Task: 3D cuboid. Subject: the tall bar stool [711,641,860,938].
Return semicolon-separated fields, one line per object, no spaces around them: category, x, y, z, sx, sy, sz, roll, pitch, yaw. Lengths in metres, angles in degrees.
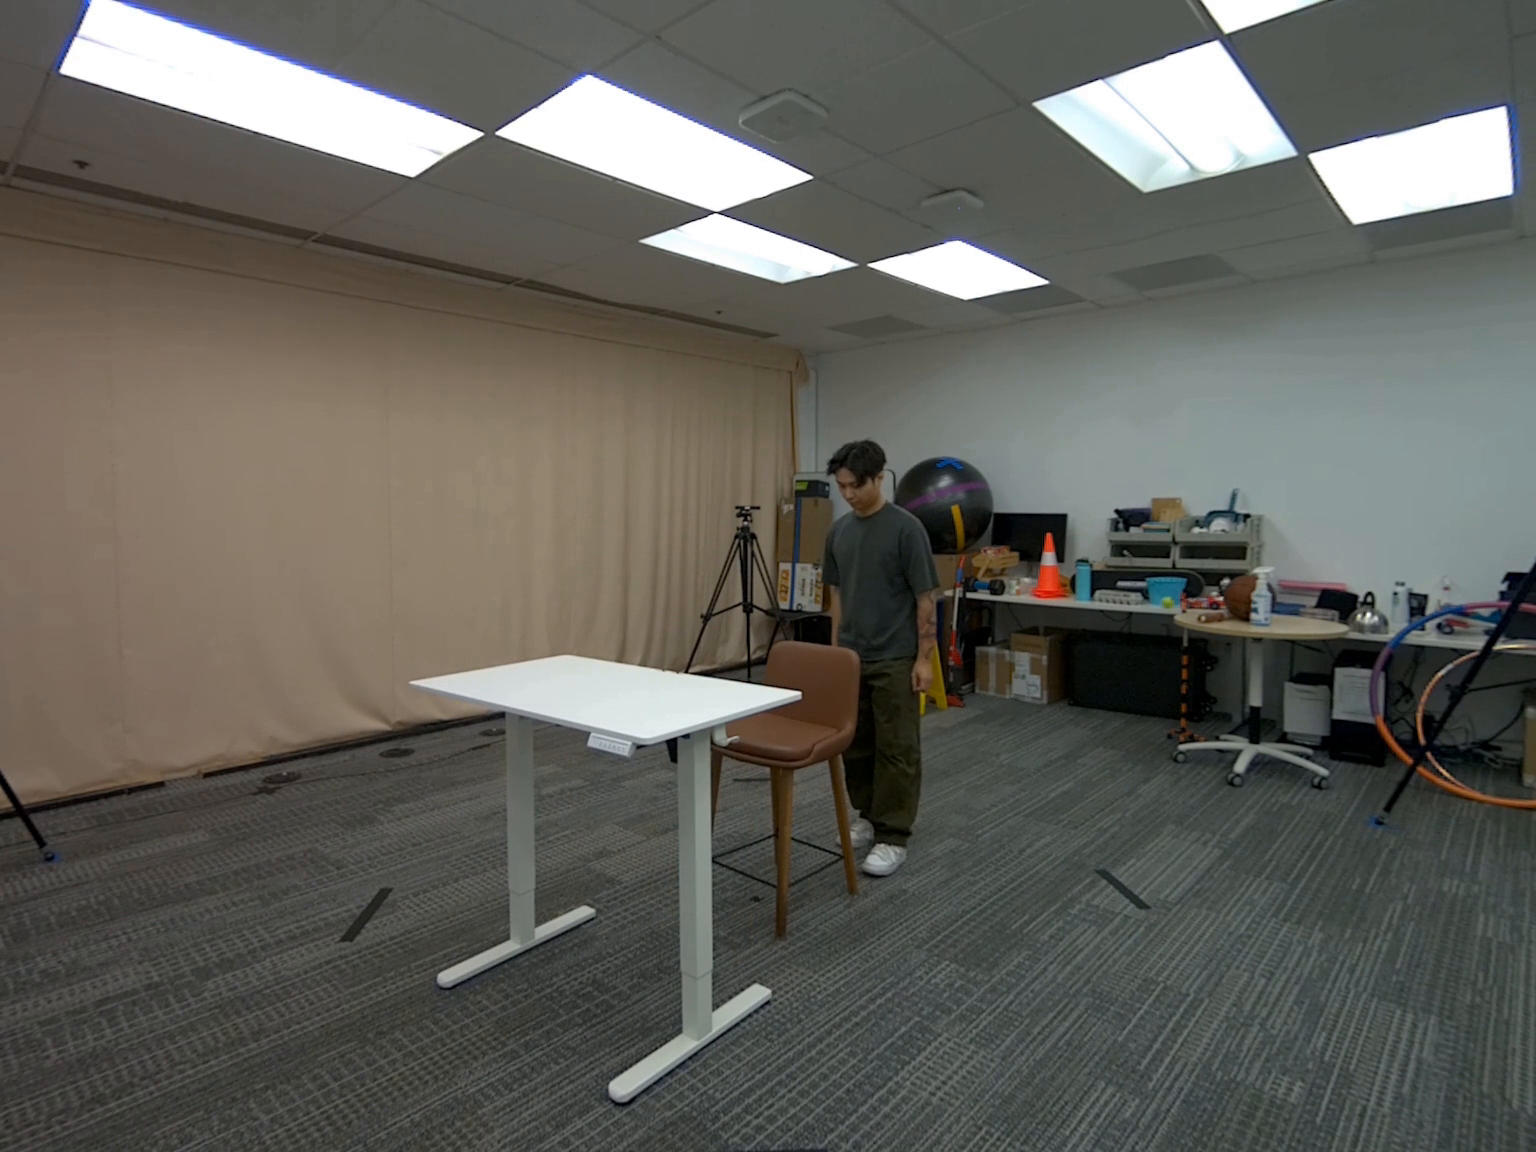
tall bar stool;0.049;0.707;2.980;0.472;0.888;0.453;4;3;43
